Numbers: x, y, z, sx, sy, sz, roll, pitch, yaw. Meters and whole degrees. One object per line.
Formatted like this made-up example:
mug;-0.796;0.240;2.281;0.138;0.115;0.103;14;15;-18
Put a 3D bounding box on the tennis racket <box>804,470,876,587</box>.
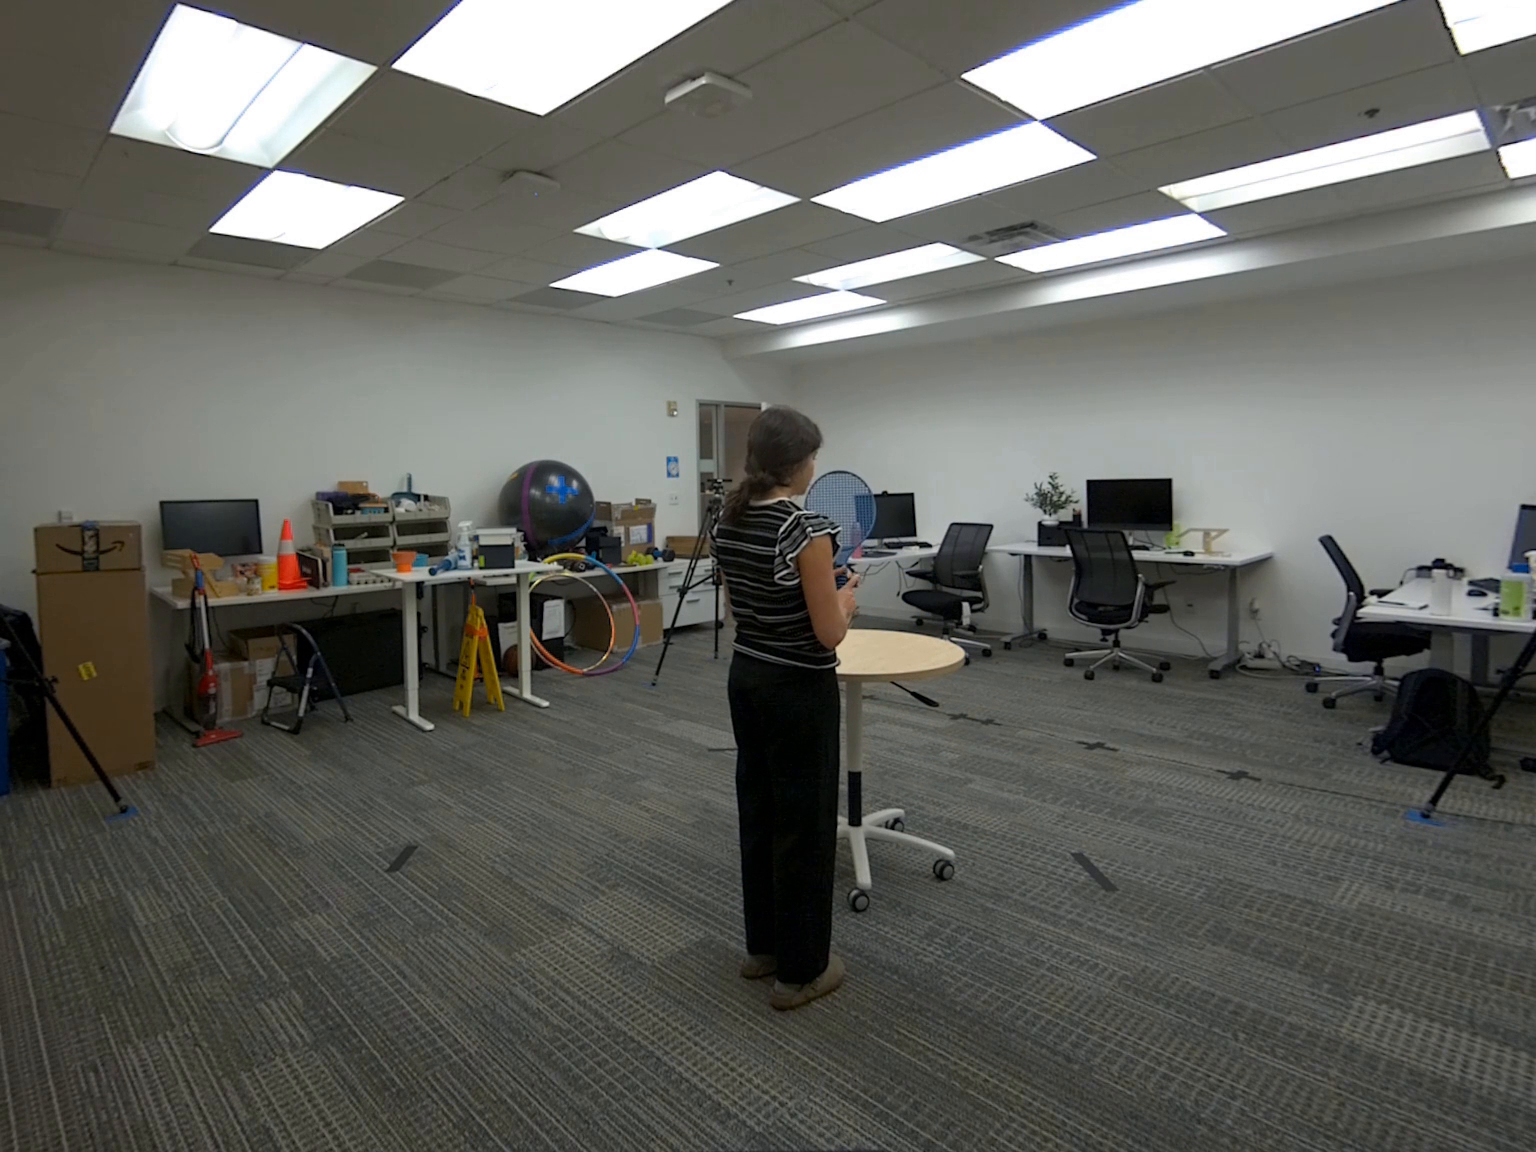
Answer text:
tennis racket;0.214;-0.123;2.515;0.215;0.439;0.031;6;-22;8
